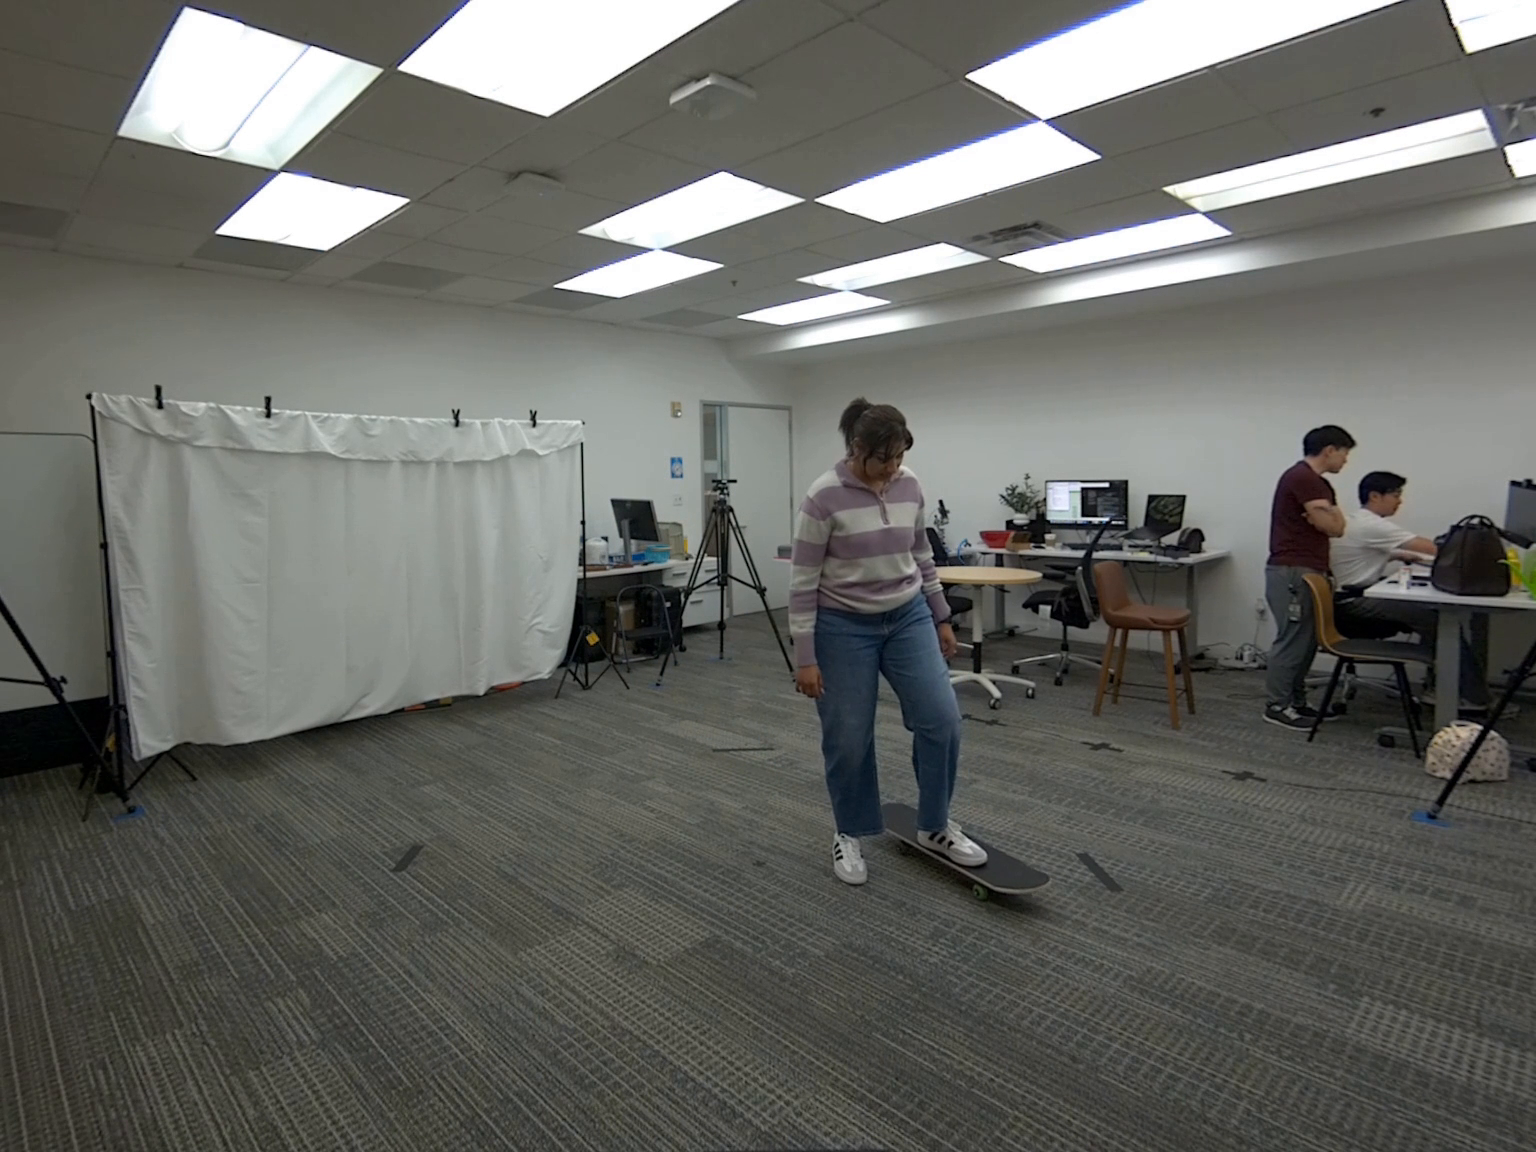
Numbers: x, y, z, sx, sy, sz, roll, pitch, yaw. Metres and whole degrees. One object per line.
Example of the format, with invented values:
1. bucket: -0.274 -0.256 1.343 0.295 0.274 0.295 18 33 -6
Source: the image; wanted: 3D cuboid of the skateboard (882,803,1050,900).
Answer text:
1. skateboard: 0.667 0.987 3.016 0.189 0.109 0.807 -9 9 -28
